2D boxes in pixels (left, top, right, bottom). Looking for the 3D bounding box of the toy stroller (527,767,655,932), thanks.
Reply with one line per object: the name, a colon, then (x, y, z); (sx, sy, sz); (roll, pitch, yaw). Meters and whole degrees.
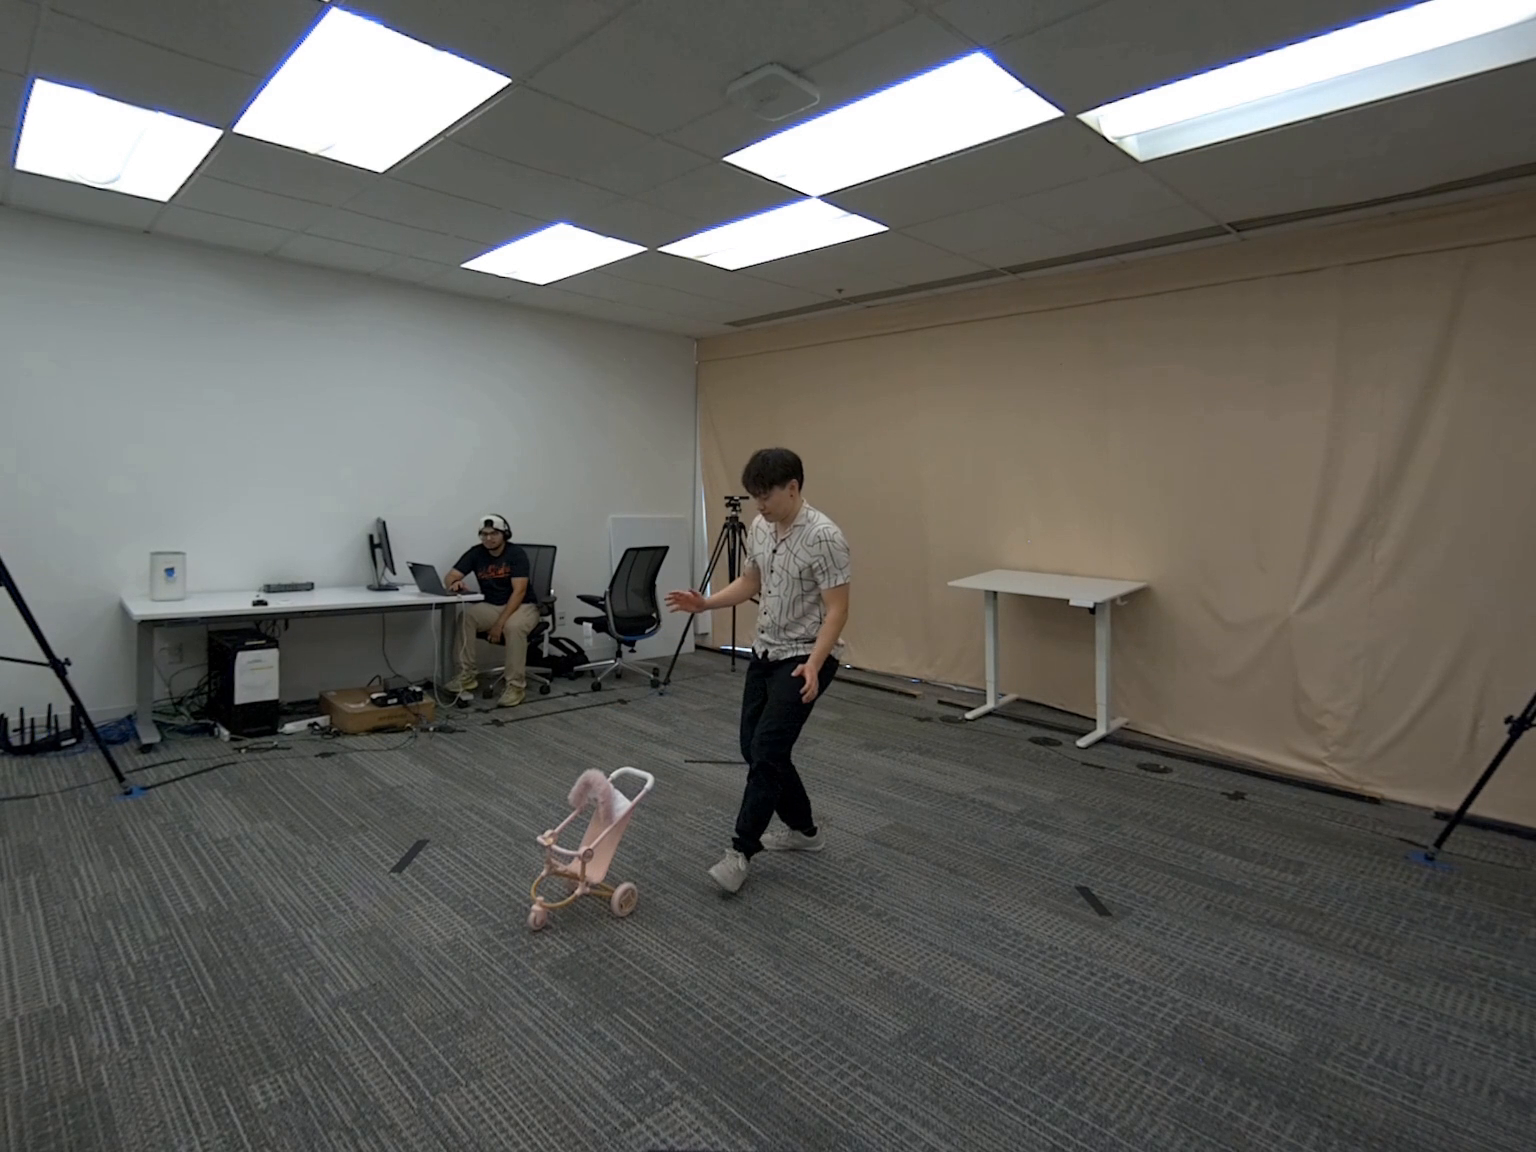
toy stroller: (-0.611, 0.897, 2.814); (0.288, 0.537, 0.331); (4, -13, 46)
